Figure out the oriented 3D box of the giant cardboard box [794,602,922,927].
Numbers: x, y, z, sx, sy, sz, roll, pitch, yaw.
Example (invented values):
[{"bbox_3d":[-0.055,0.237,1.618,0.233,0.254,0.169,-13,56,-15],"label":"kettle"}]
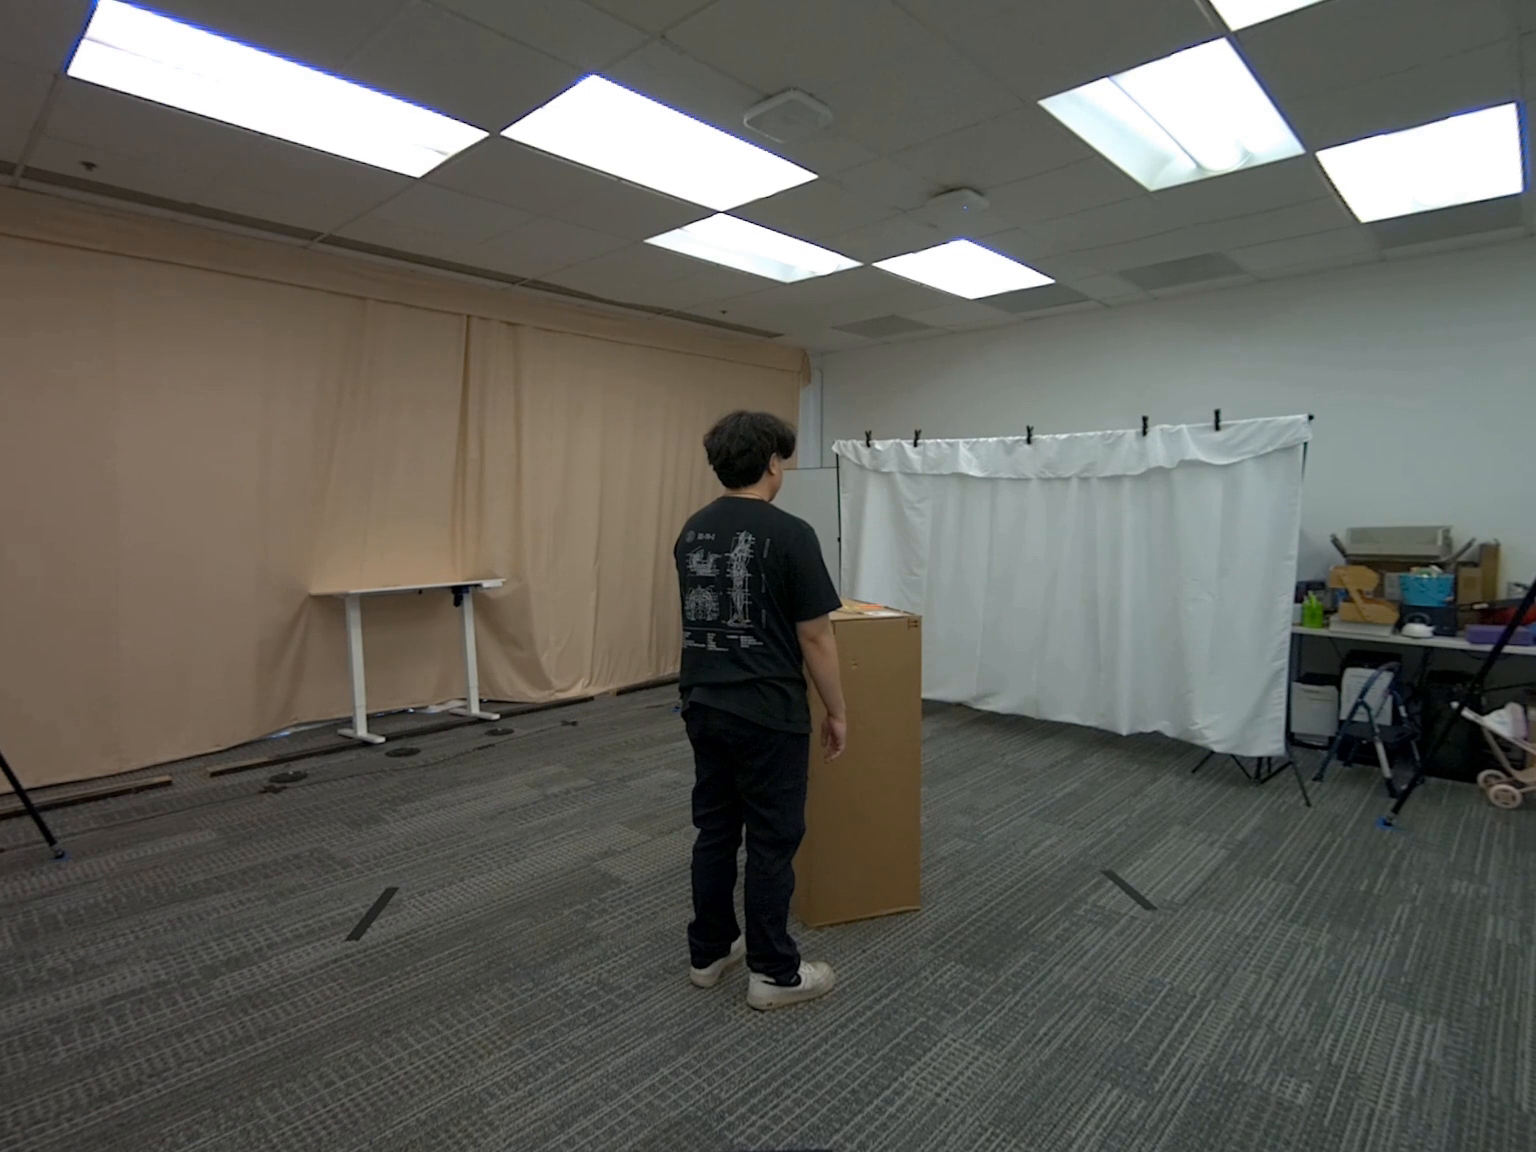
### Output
[{"bbox_3d":[0.229,0.623,3.080,0.438,1.025,0.597,-1,3,-21],"label":"giant cardboard box"}]
